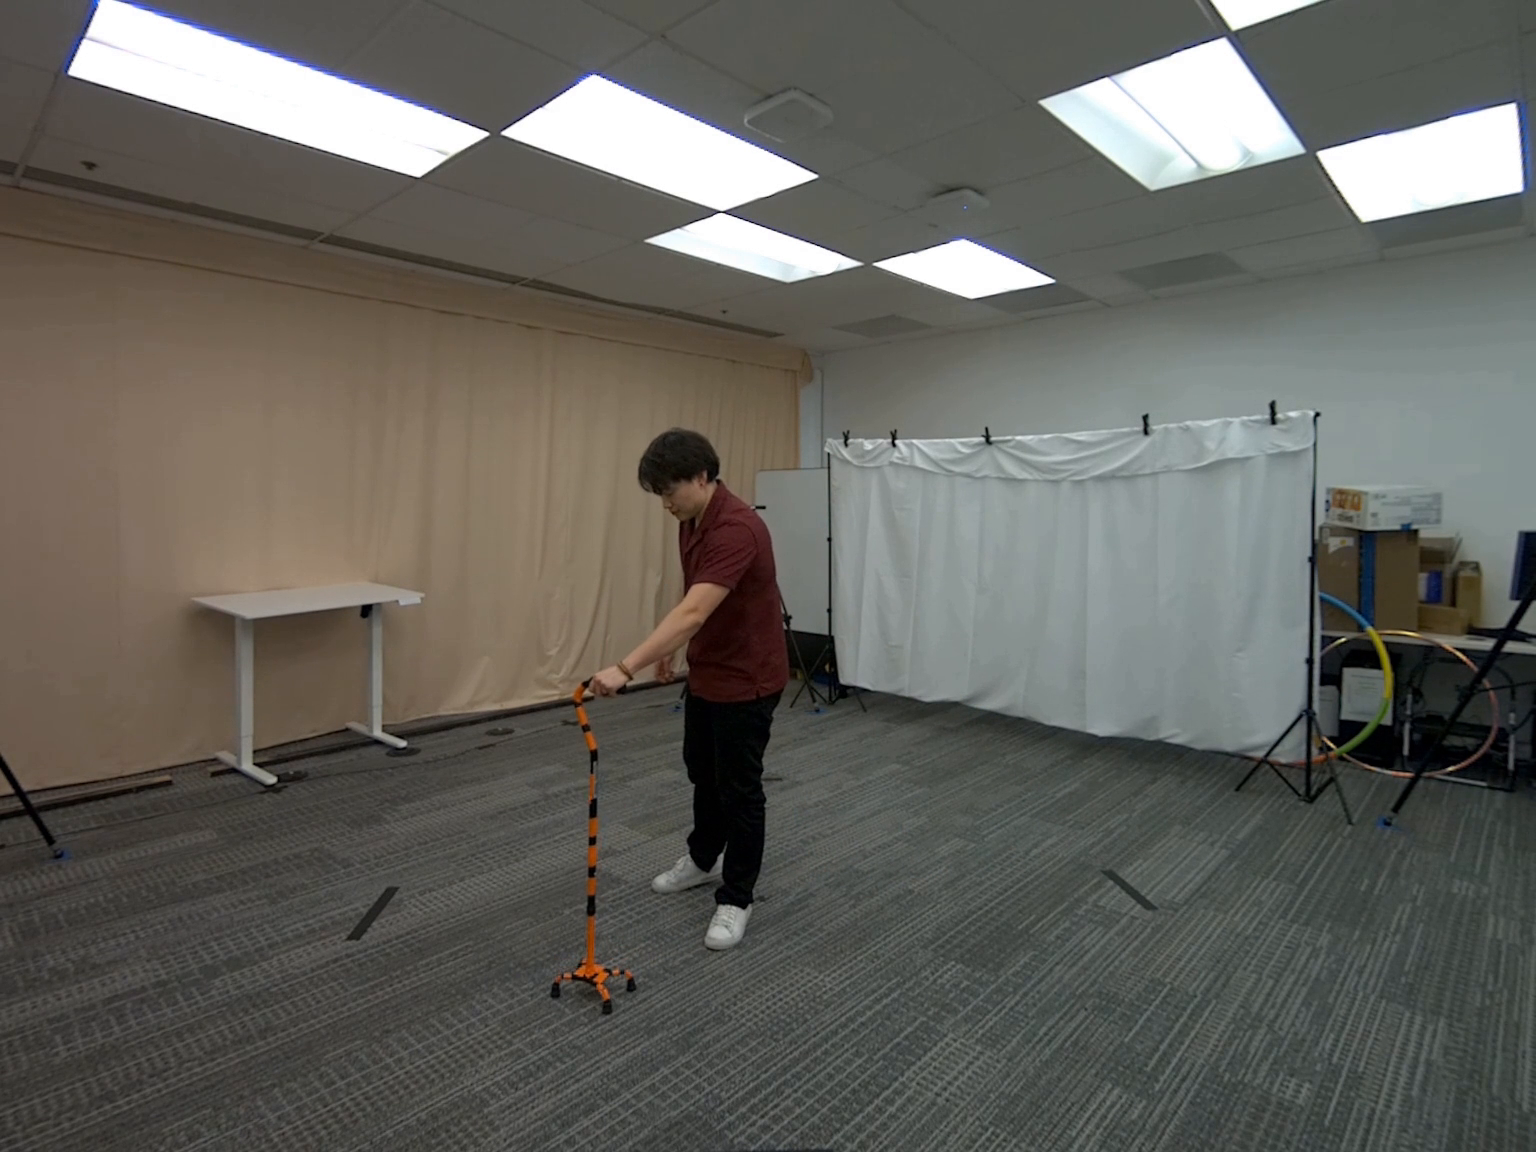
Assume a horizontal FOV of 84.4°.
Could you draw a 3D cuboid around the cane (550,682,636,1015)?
[{"bbox_3d":[-0.492,0.742,2.388,0.211,0.906,0.148,3,4,24],"label":"cane"}]
